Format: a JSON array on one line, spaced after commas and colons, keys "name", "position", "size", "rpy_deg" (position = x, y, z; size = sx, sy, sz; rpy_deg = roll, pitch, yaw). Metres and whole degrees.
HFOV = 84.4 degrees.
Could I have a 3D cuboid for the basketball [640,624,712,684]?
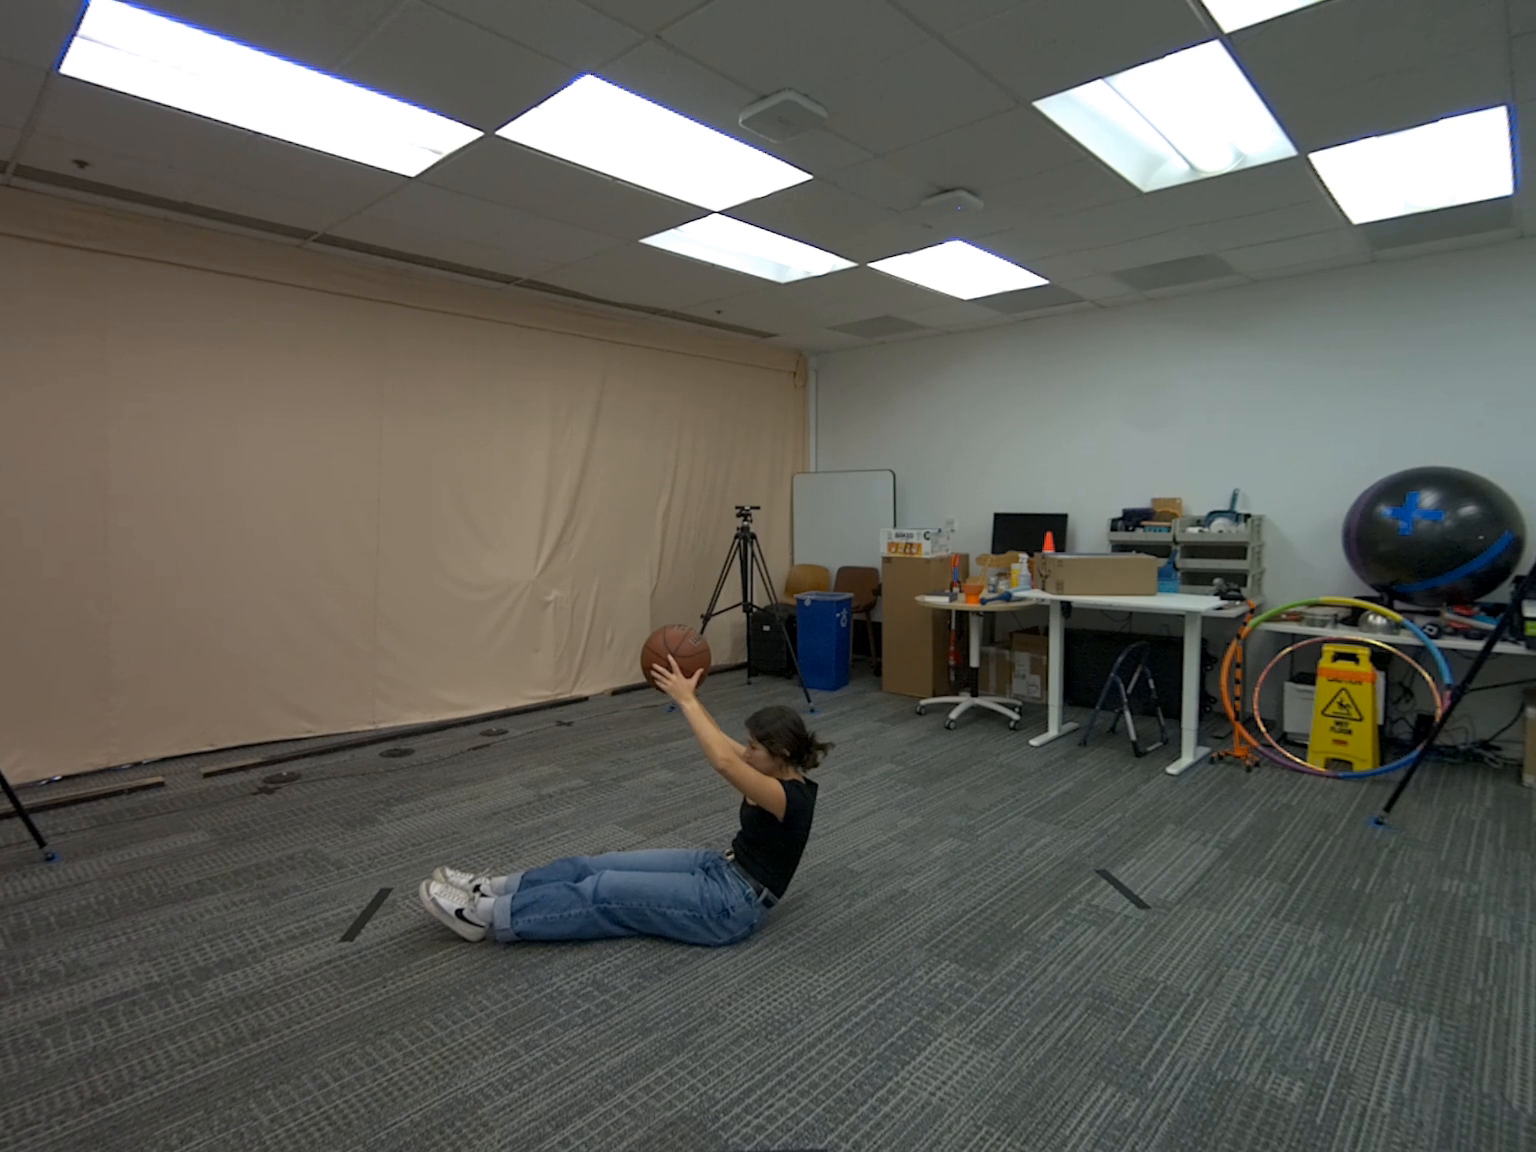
[{"name": "basketball", "position": [-0.308, 0.288, 2.835], "size": [0.236, 0.235, 0.237], "rpy_deg": [0, 4, -2]}]
